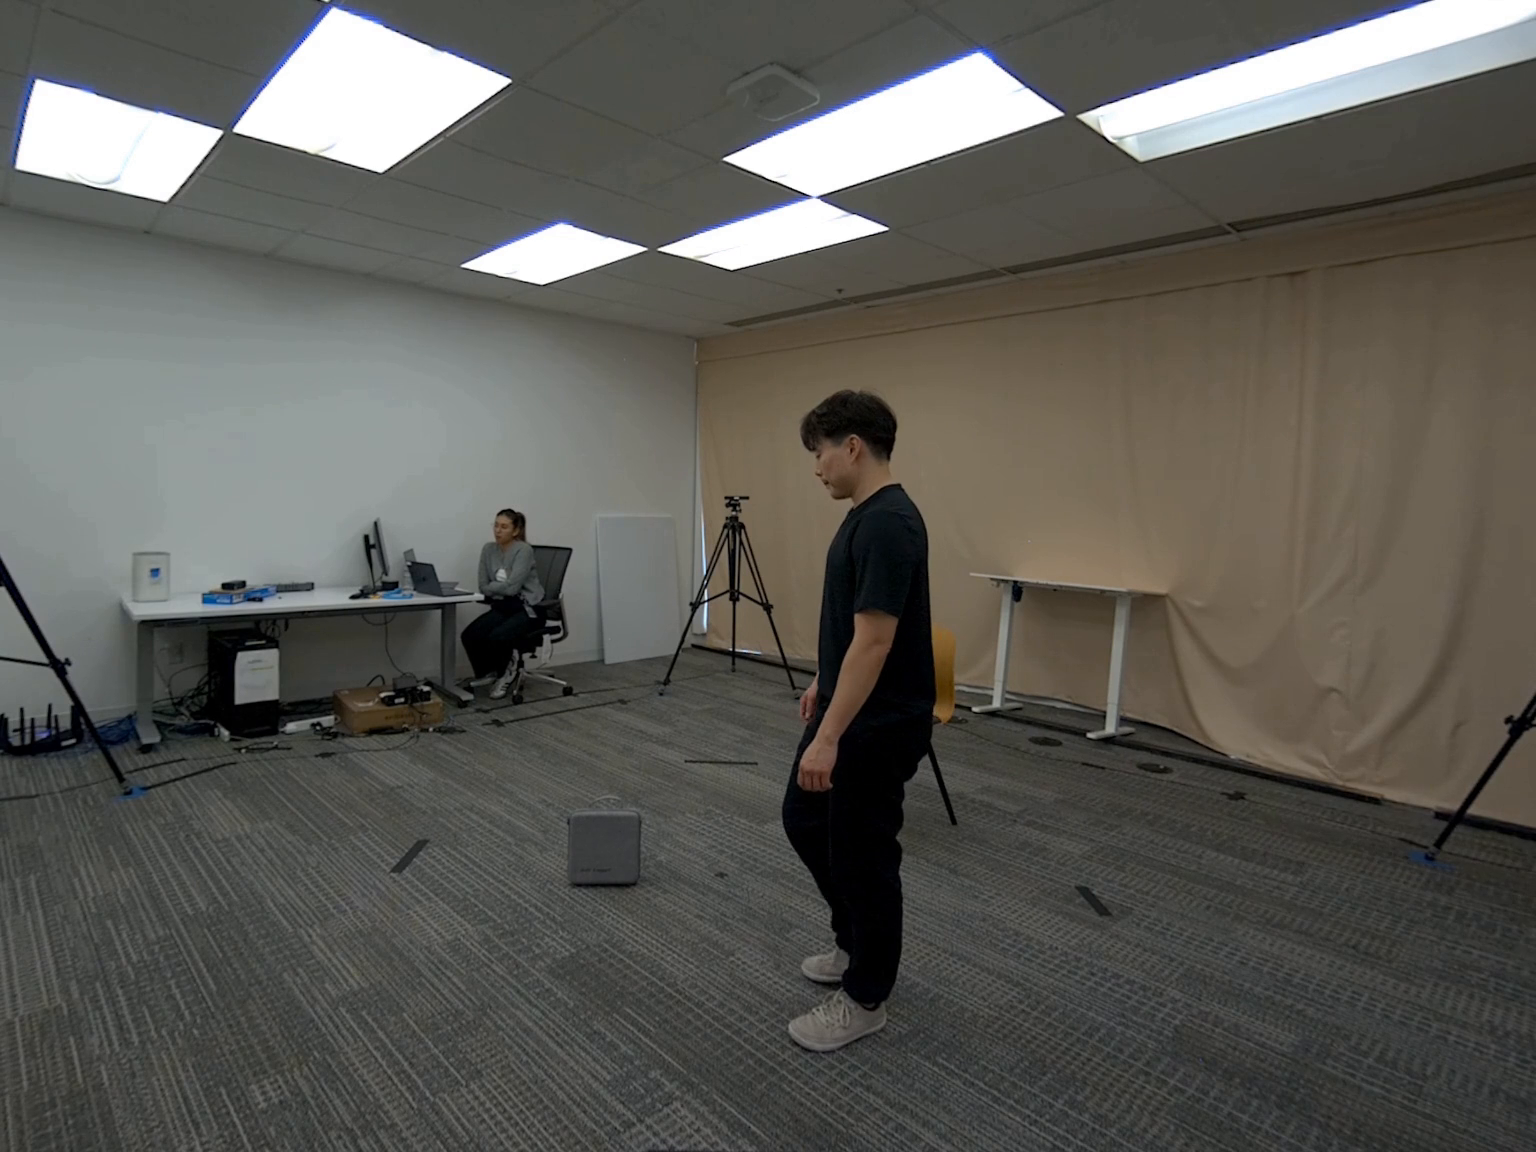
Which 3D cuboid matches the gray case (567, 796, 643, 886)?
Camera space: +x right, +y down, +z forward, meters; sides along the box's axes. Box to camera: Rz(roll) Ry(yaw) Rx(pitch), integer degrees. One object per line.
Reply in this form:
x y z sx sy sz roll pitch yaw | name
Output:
-0.597 0.966 3.036 0.256 0.261 0.104 2 -5 -3 | gray case
